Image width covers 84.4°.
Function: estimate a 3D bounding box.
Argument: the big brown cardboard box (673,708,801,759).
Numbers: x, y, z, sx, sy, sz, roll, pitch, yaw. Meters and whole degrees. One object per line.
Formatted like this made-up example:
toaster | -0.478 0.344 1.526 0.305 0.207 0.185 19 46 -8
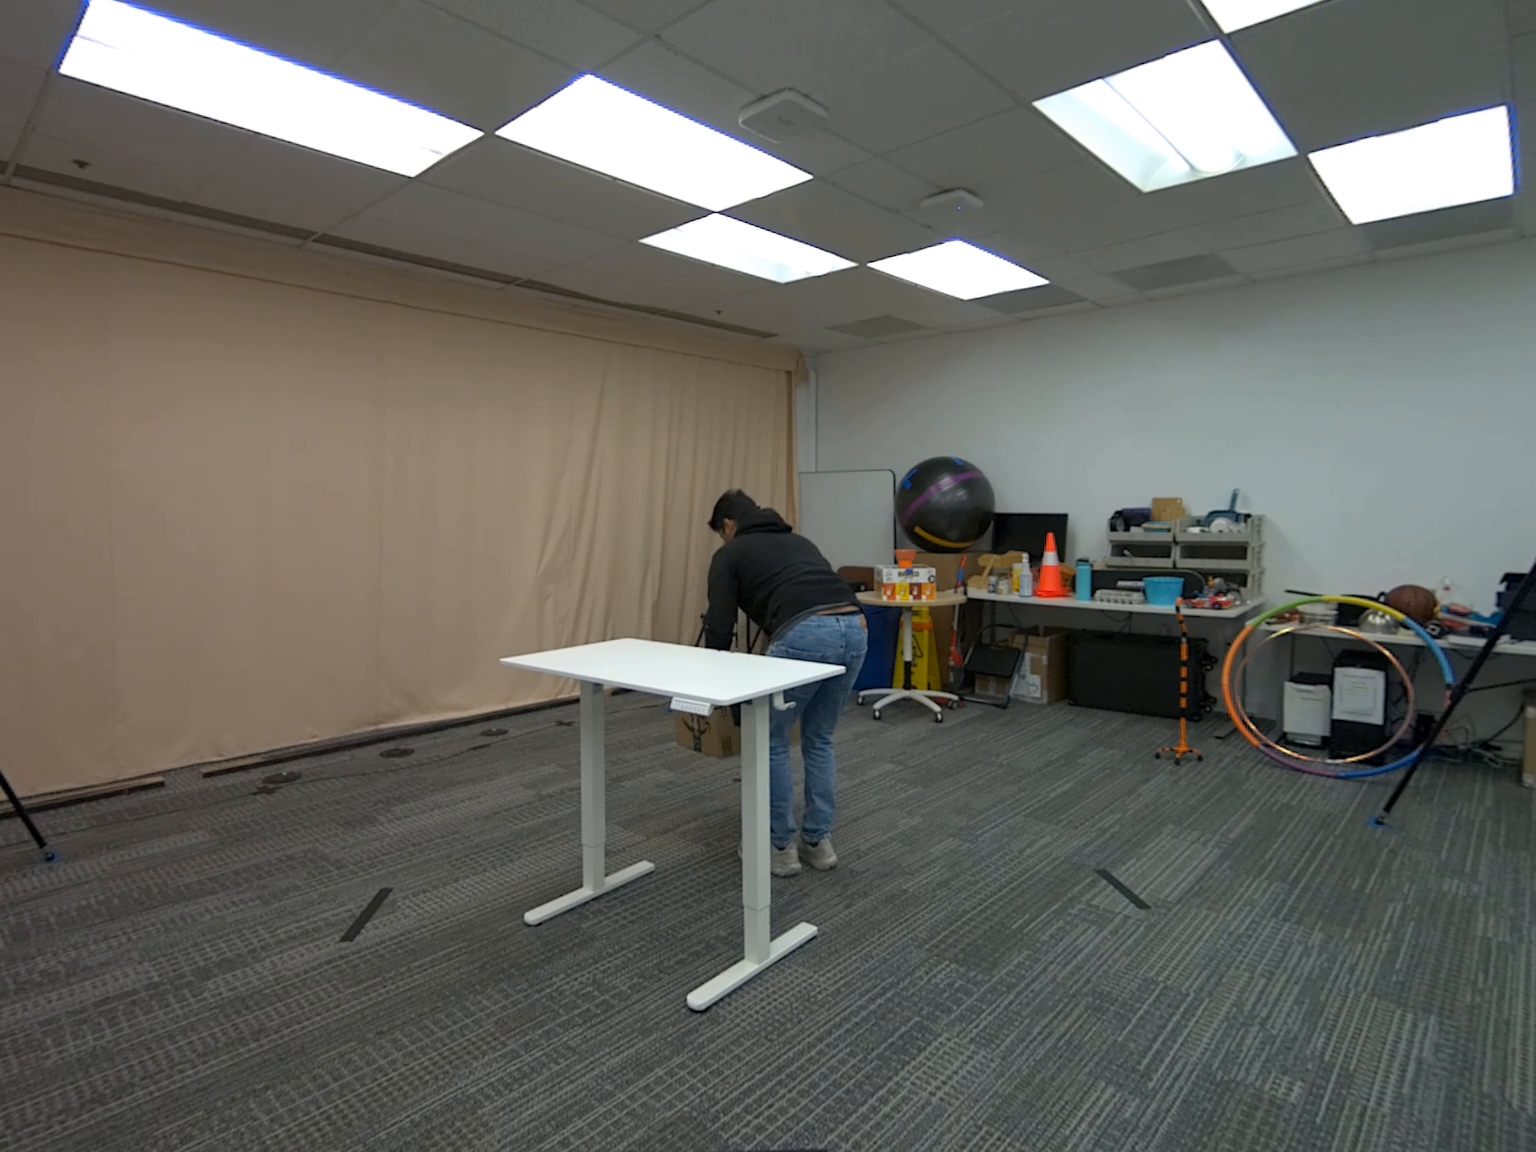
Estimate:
big brown cardboard box | -0.073 0.602 3.646 0.574 0.233 0.428 -5 0 -29
